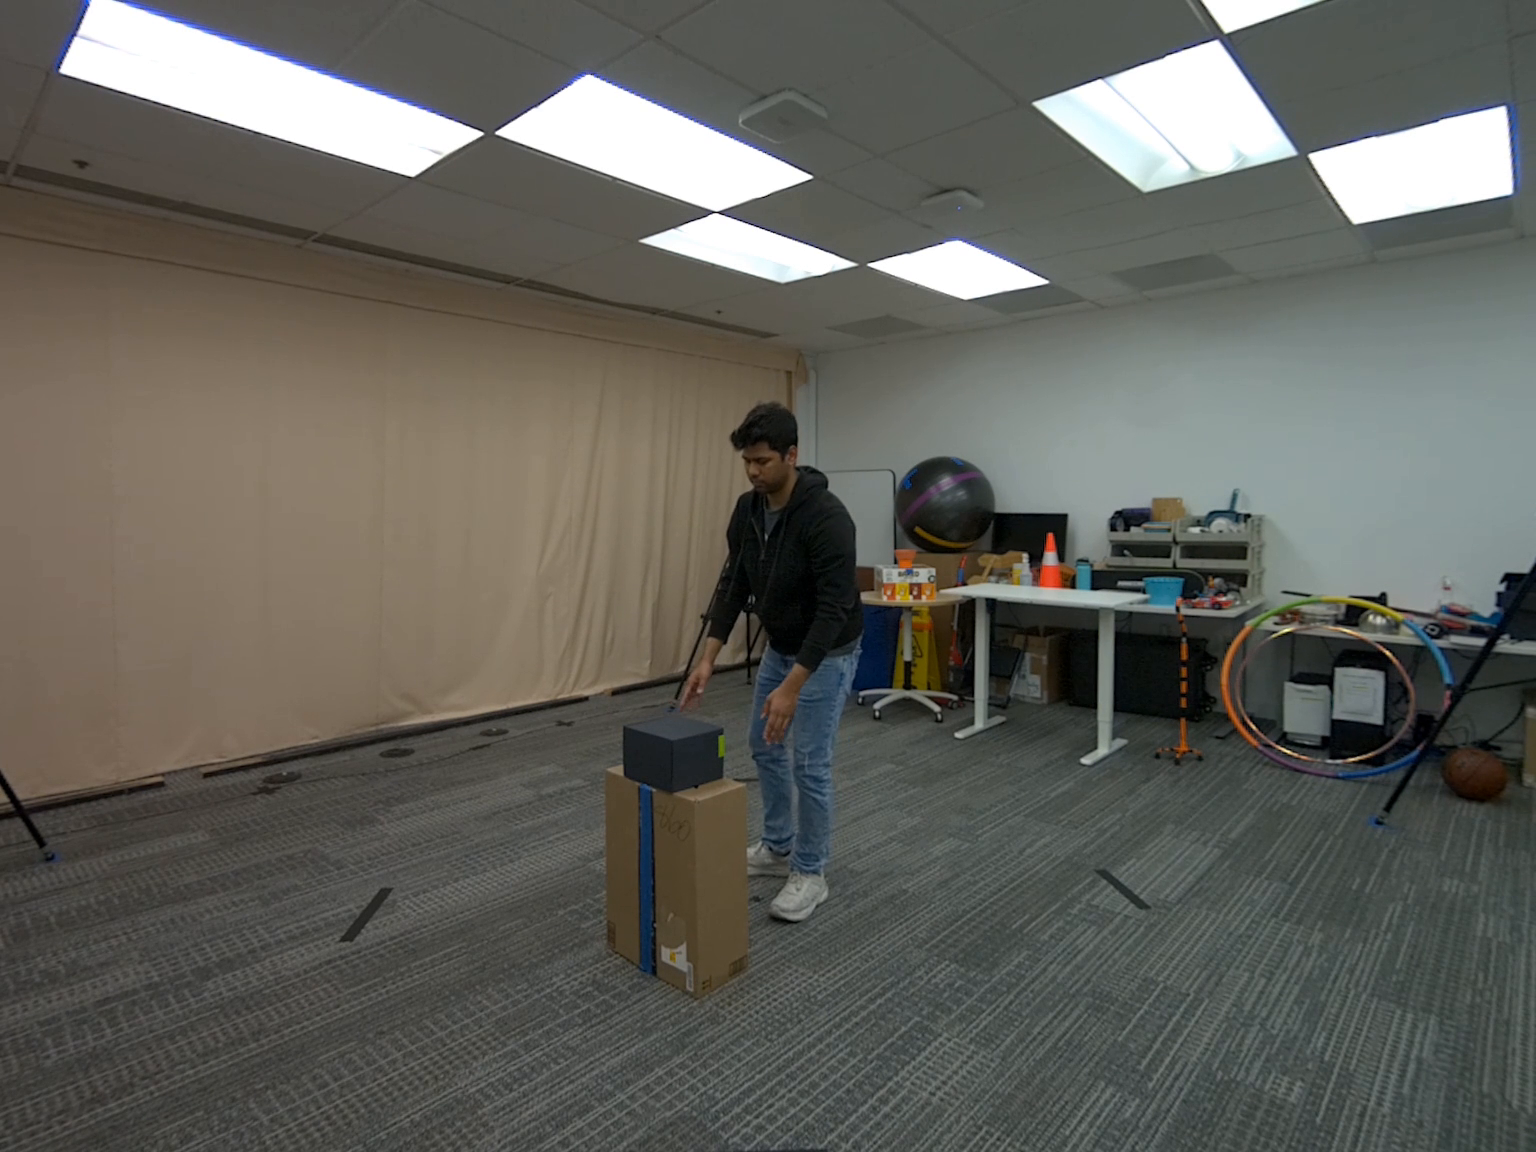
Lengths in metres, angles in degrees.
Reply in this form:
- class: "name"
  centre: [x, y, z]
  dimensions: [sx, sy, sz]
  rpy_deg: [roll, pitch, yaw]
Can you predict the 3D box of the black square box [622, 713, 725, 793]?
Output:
- class: "black square box"
  centre: [-0.286, 0.536, 2.564]
  dimensions: [0.235, 0.156, 0.210]
  rpy_deg: [4, 4, 43]
